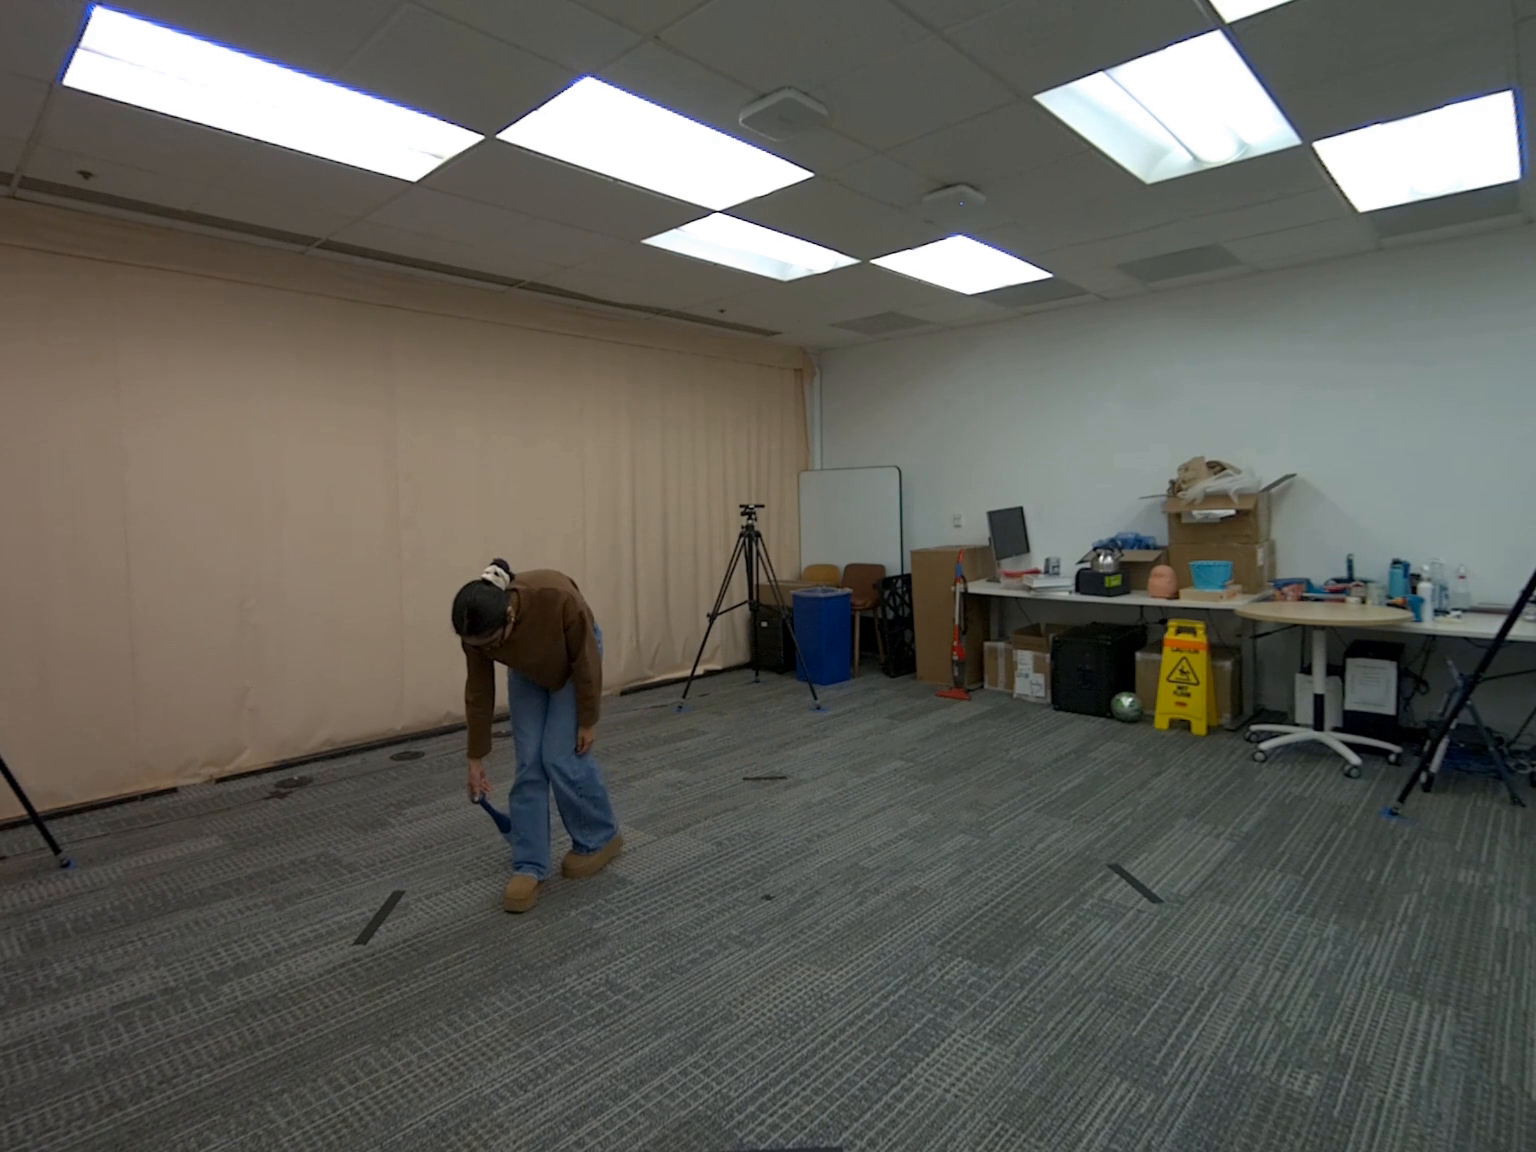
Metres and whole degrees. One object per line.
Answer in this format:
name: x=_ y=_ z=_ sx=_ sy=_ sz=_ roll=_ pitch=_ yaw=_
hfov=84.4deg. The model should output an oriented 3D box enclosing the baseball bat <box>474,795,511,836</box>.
baseball bat: x=-1.014 y=0.957 z=3.224 sx=0.090 sy=0.090 sz=0.529 roll=1 pitch=-36 yaw=11
